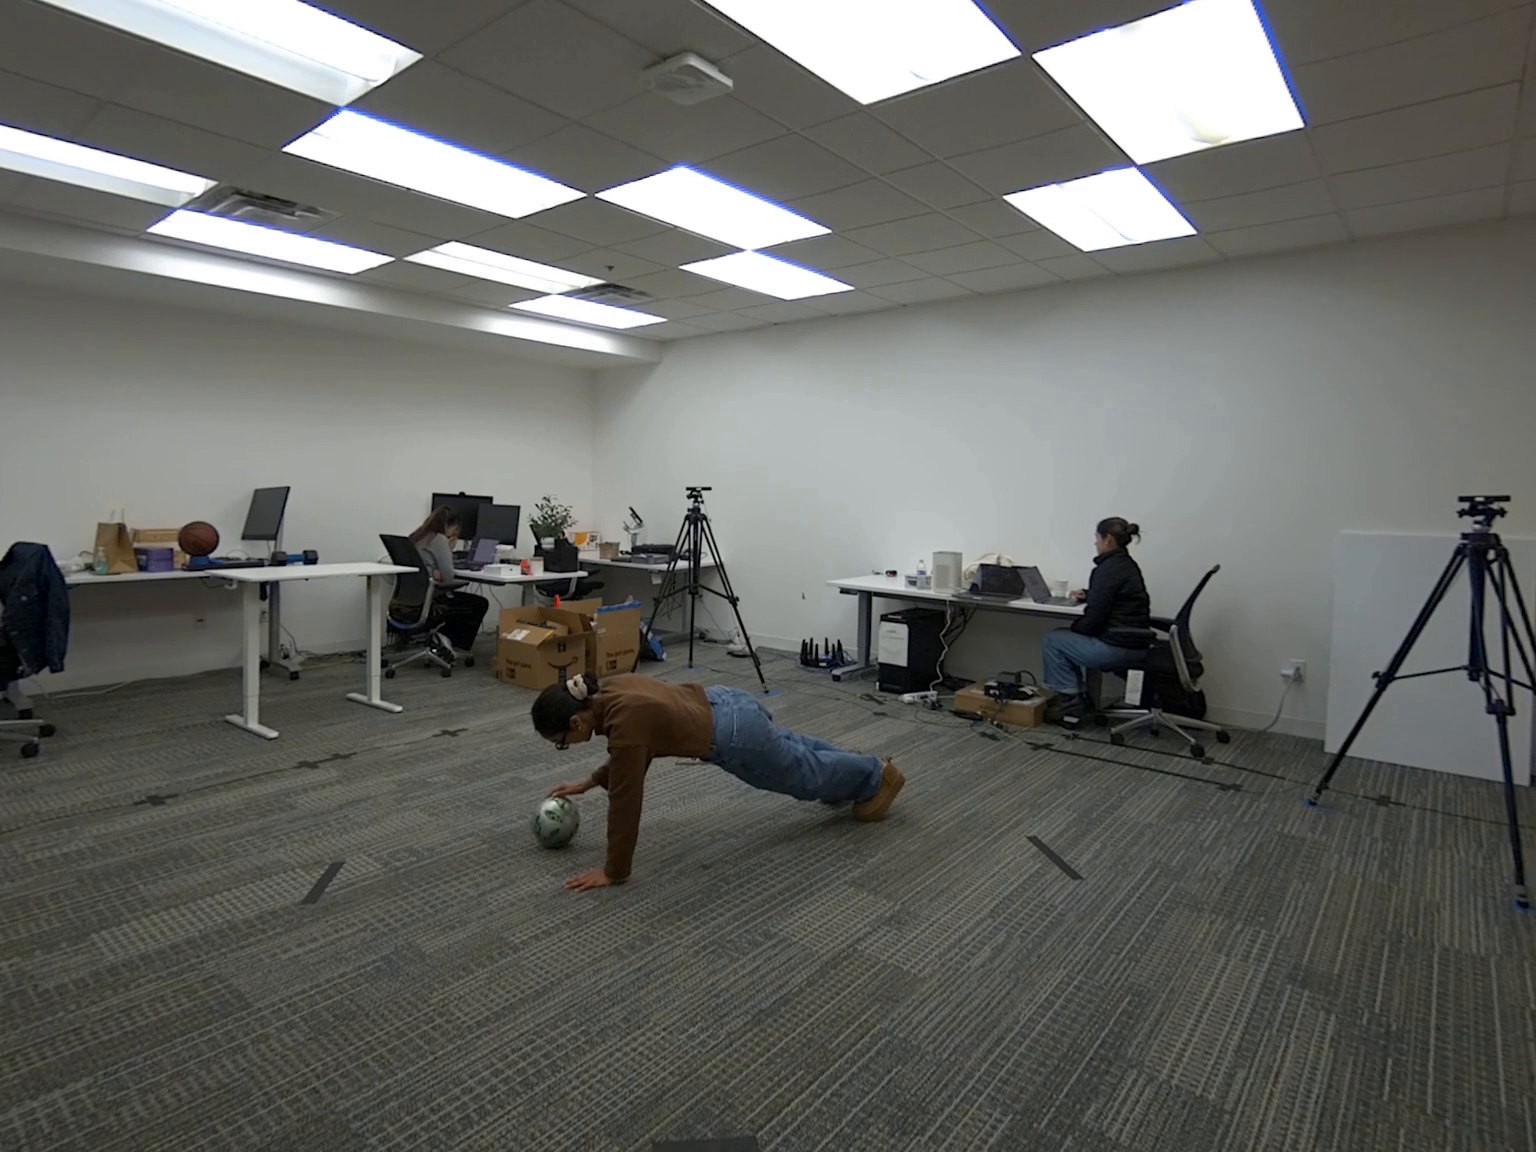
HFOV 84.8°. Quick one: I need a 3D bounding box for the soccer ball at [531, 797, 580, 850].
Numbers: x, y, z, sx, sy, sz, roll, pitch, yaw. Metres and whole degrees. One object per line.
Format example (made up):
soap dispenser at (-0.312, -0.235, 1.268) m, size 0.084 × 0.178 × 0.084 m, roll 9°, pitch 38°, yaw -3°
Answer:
soccer ball at (-0.827, 0.947, 3.284) m, size 0.187 × 0.187 × 0.188 m, roll 1°, pitch 4°, yaw -2°
